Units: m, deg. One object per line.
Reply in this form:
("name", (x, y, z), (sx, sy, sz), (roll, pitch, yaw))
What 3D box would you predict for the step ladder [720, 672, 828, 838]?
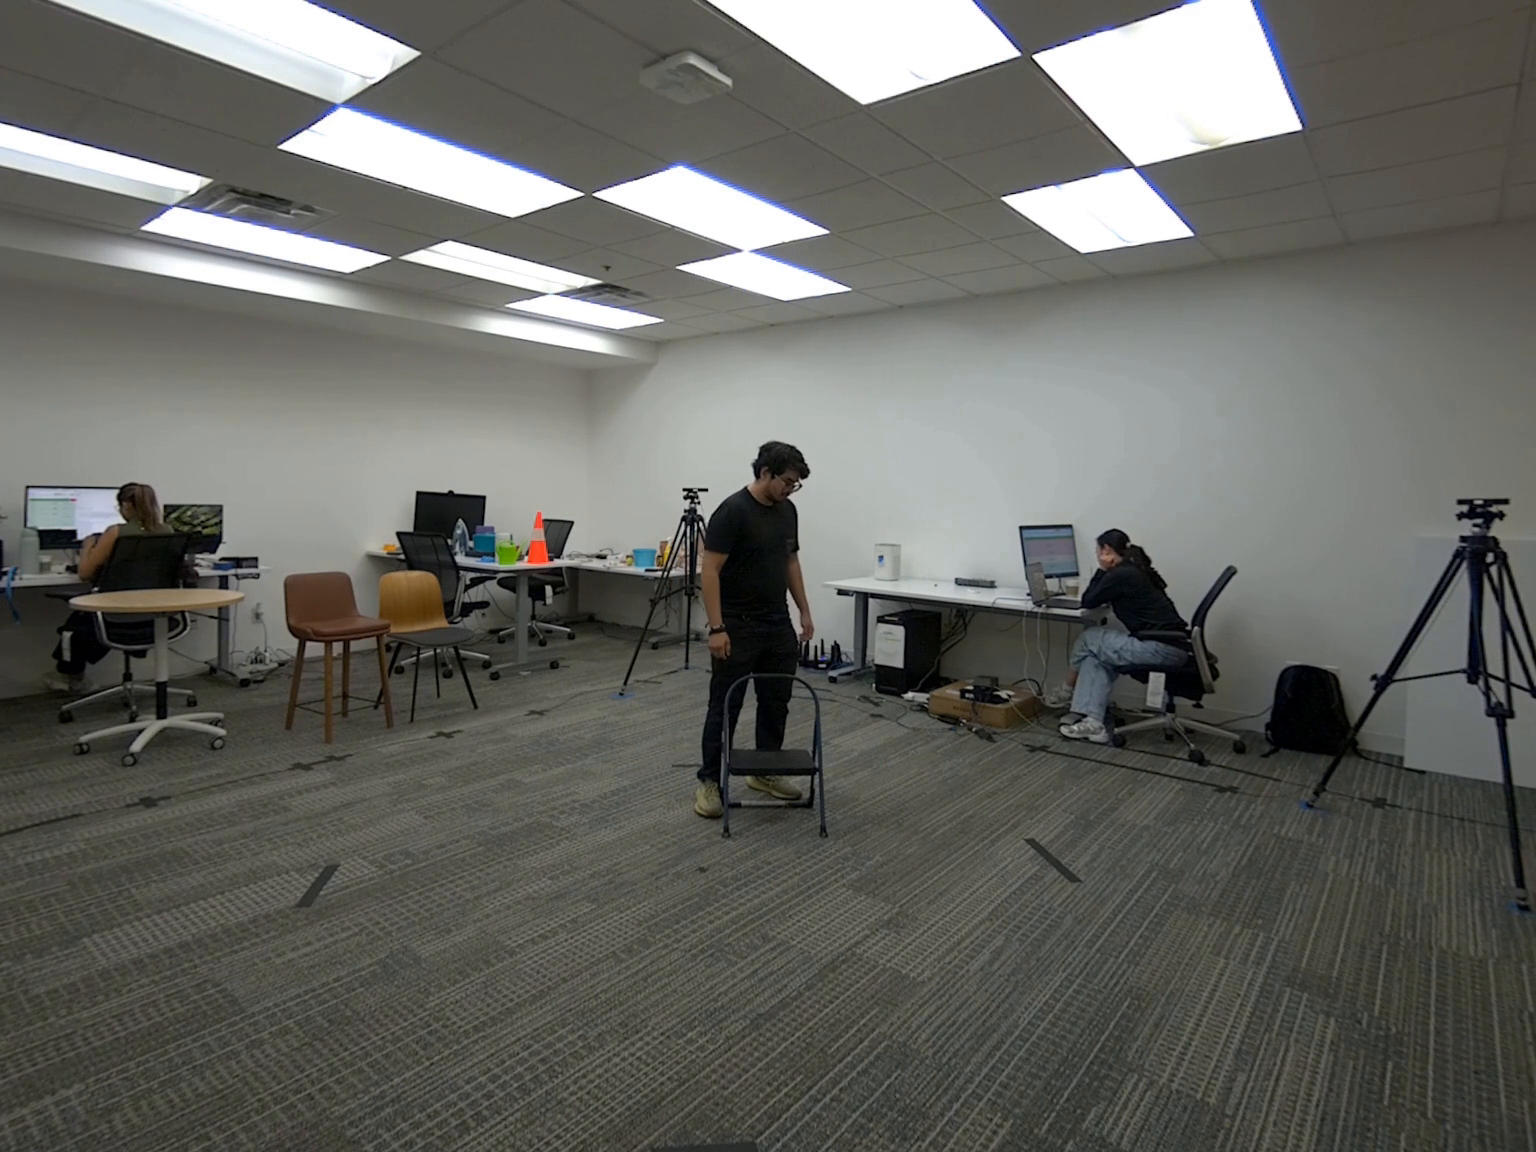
("step ladder", (0.013, 0.731, 3.572), (0.428, 0.604, 0.353), (1, 4, -6))
